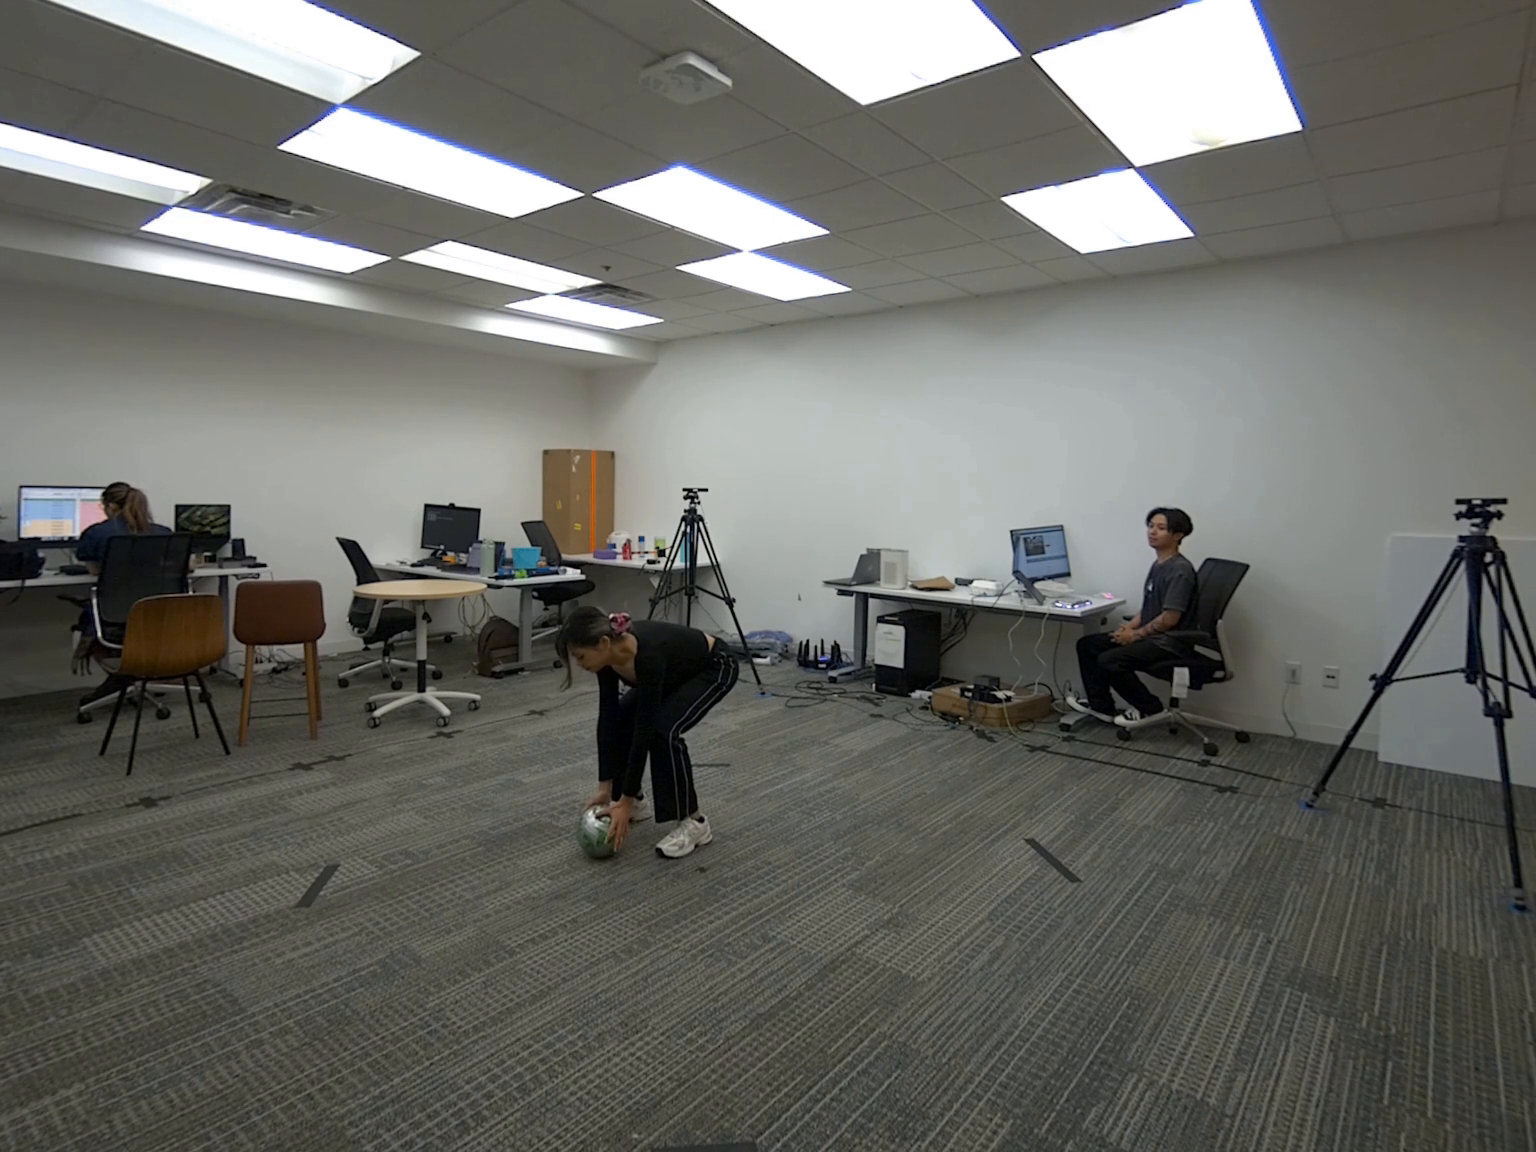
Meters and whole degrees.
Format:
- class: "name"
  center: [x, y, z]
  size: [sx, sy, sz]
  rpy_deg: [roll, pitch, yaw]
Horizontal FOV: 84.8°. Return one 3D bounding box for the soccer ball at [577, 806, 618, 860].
- class: "soccer ball"
  center: [-0.645, 0.964, 3.222]
  size: [0.187, 0.187, 0.188]
  rpy_deg: [1, 4, -2]
